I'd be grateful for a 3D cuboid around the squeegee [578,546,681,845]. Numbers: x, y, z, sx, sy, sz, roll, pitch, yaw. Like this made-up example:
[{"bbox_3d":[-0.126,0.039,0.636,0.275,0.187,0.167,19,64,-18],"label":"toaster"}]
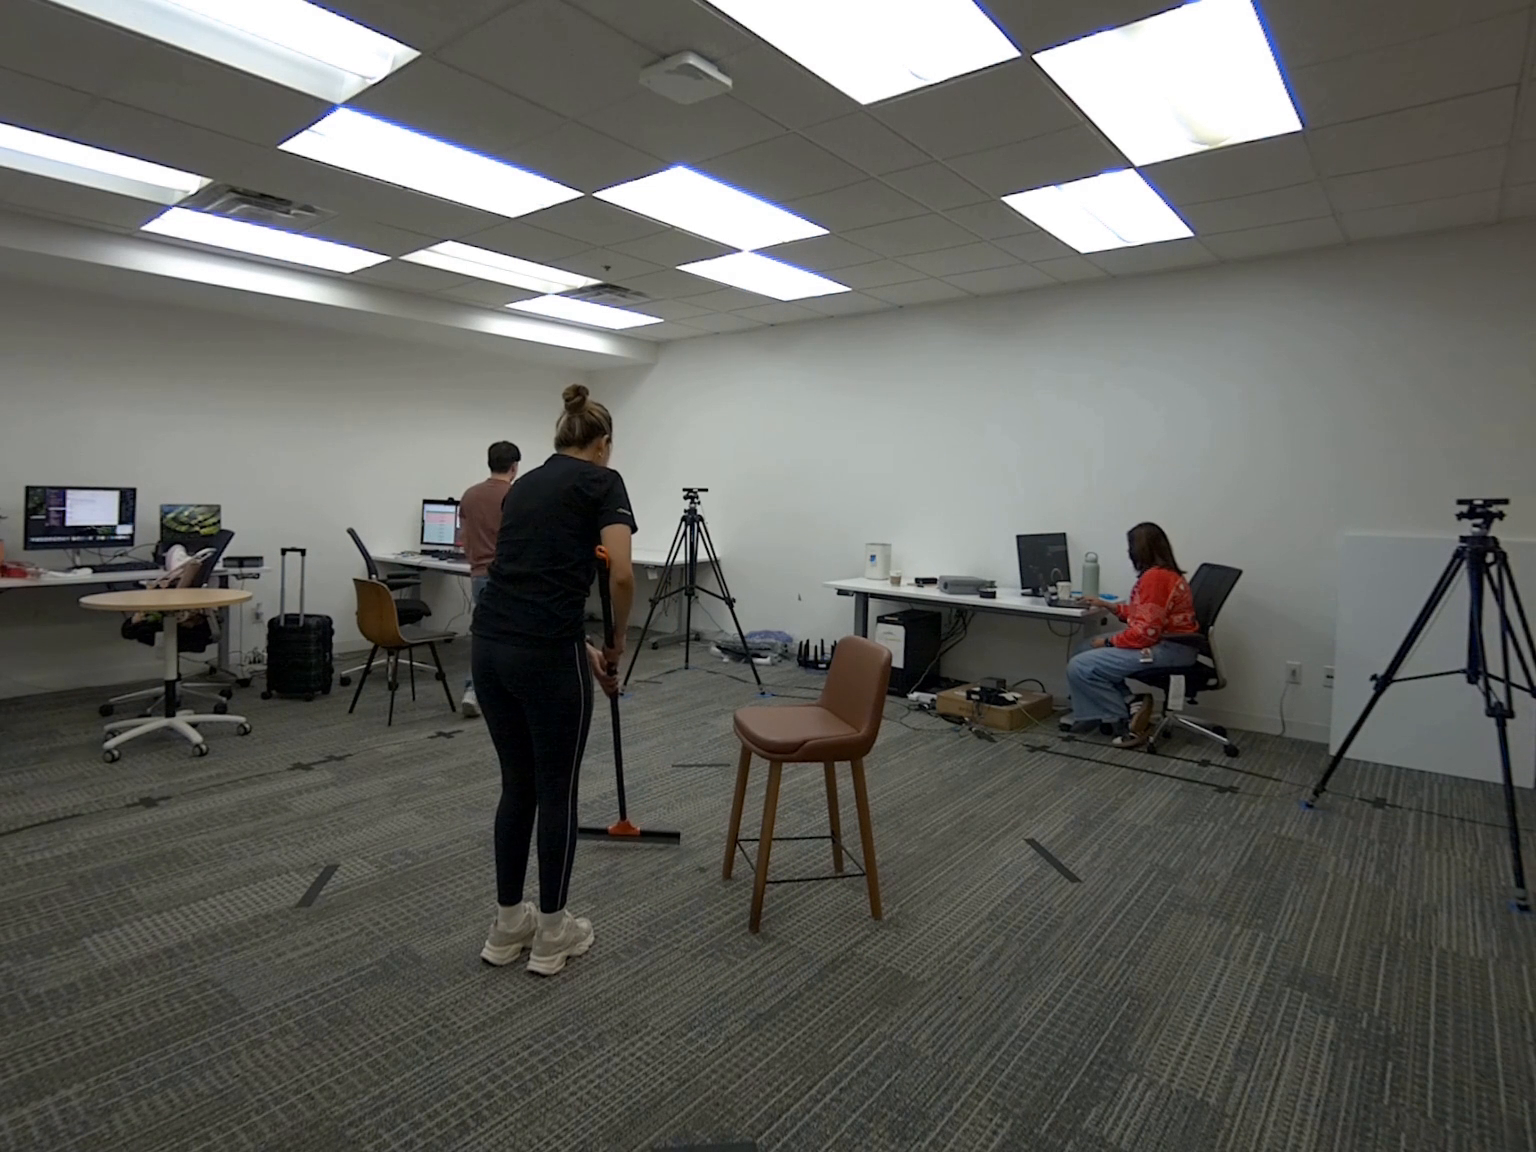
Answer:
[{"bbox_3d":[-0.525,0.460,2.823,0.437,1.497,0.054,3,43,-2],"label":"squeegee"}]
